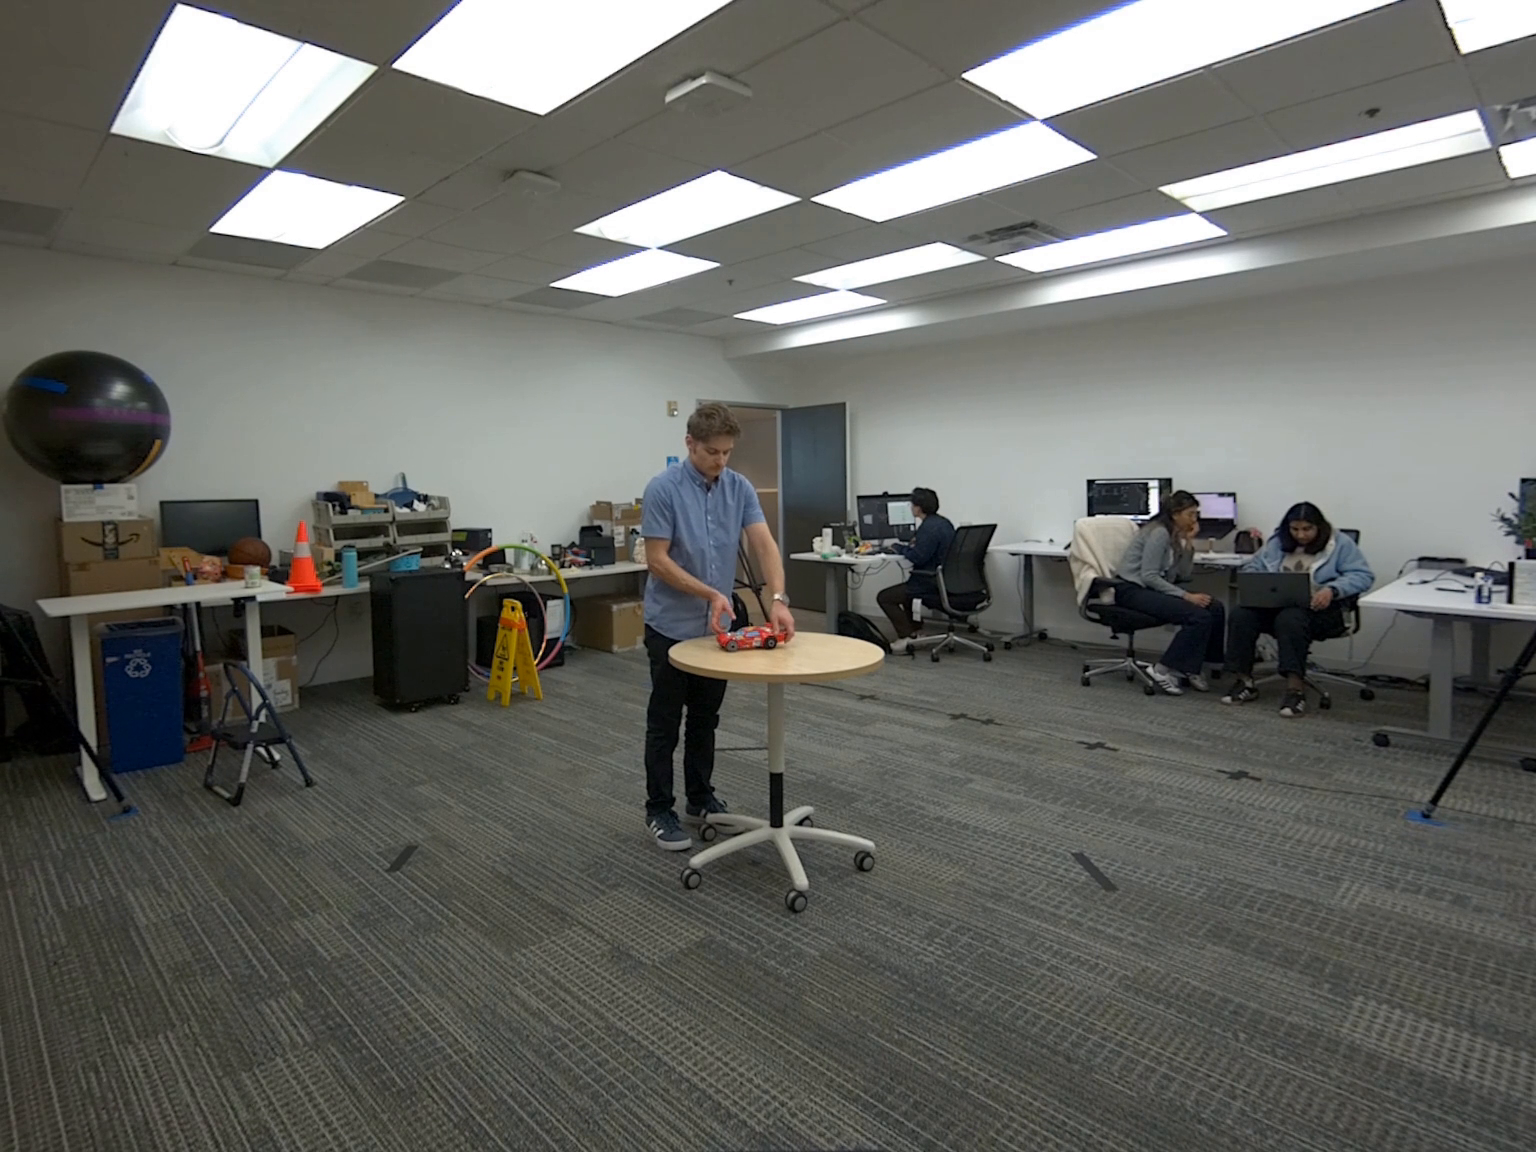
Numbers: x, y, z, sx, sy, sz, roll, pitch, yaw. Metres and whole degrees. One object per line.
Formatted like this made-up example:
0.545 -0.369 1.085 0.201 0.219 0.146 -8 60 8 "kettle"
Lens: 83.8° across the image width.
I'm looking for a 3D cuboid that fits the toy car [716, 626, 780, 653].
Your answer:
-0.050 0.230 3.097 0.252 0.082 0.133 -13 11 -15 "toy car"
